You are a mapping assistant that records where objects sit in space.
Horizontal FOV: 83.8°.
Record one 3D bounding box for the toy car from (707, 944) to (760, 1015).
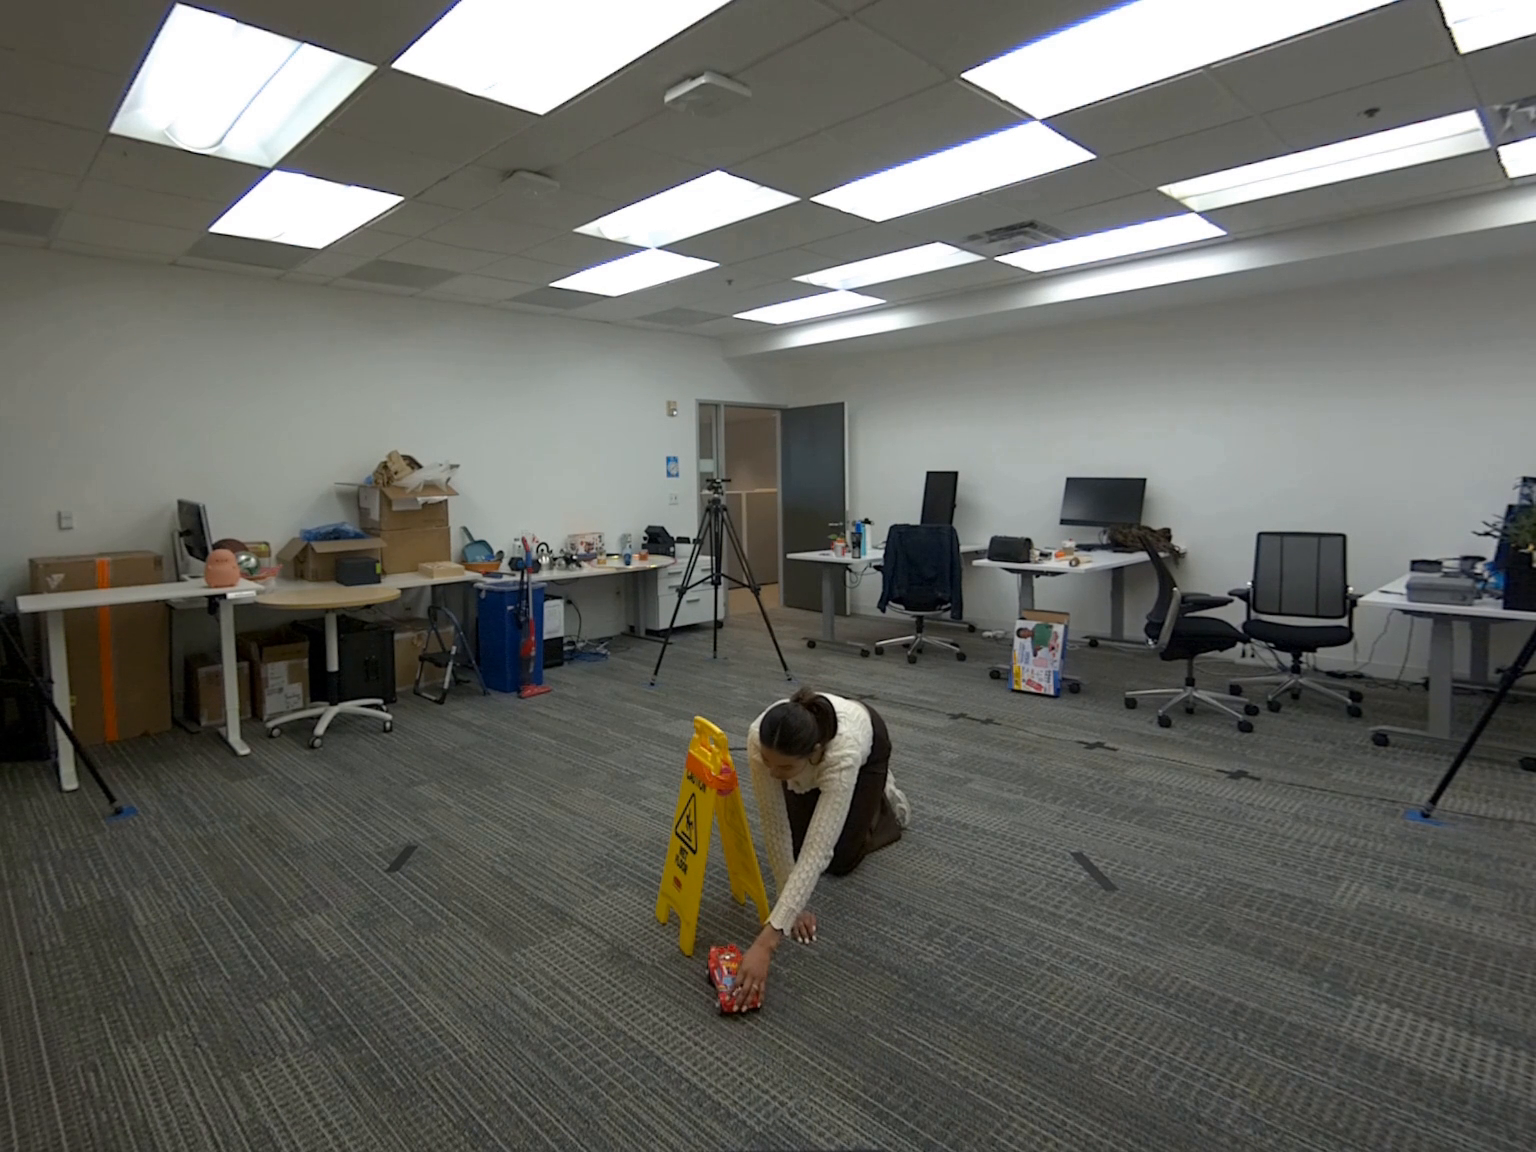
[{"bbox_3d":[-0.105,1.105,2.350,0.129,0.082,0.261,-5,19,-13],"label":"toy car"}]
